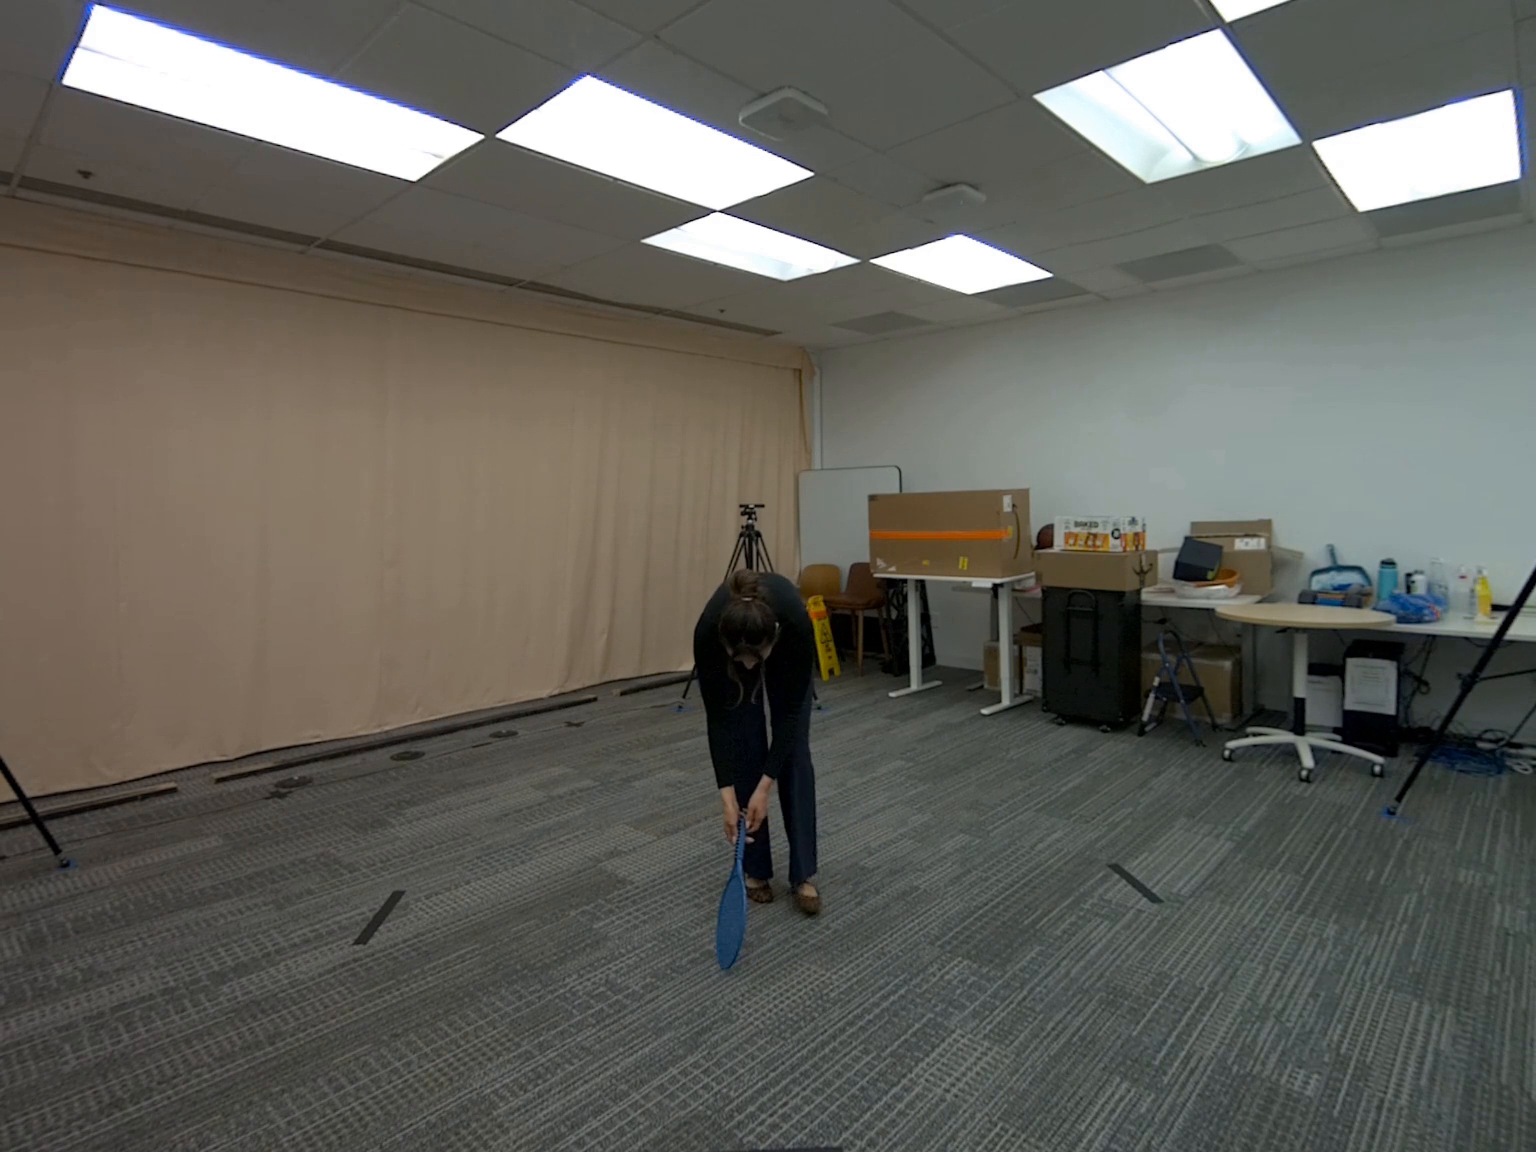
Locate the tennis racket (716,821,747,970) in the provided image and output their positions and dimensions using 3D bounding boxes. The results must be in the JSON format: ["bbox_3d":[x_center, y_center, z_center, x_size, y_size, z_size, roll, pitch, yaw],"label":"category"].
[{"bbox_3d":[-0.100,0.979,2.612,0.031,0.438,0.214,15,-31,-14],"label":"tennis racket"}]
